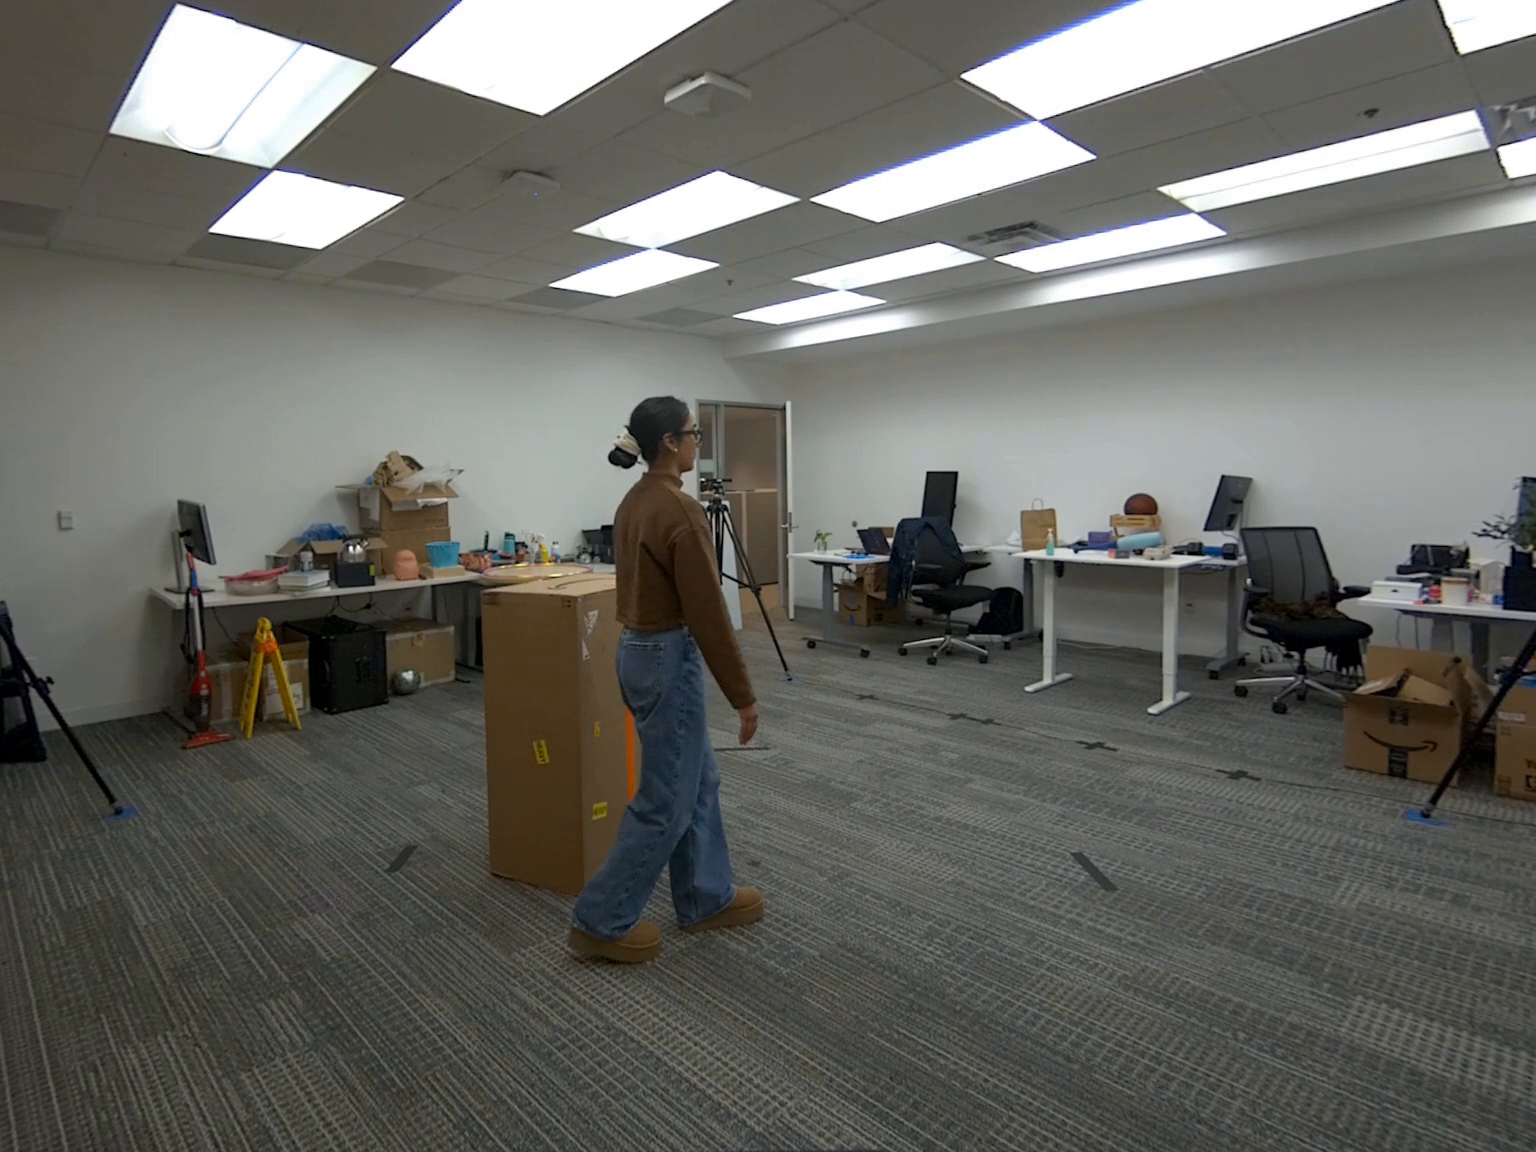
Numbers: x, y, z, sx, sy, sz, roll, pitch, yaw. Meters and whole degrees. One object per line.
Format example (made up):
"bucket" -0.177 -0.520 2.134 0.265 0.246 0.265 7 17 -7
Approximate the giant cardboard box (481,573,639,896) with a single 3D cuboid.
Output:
"giant cardboard box" -0.698 0.537 3.188 0.436 1.022 0.566 1 4 25
